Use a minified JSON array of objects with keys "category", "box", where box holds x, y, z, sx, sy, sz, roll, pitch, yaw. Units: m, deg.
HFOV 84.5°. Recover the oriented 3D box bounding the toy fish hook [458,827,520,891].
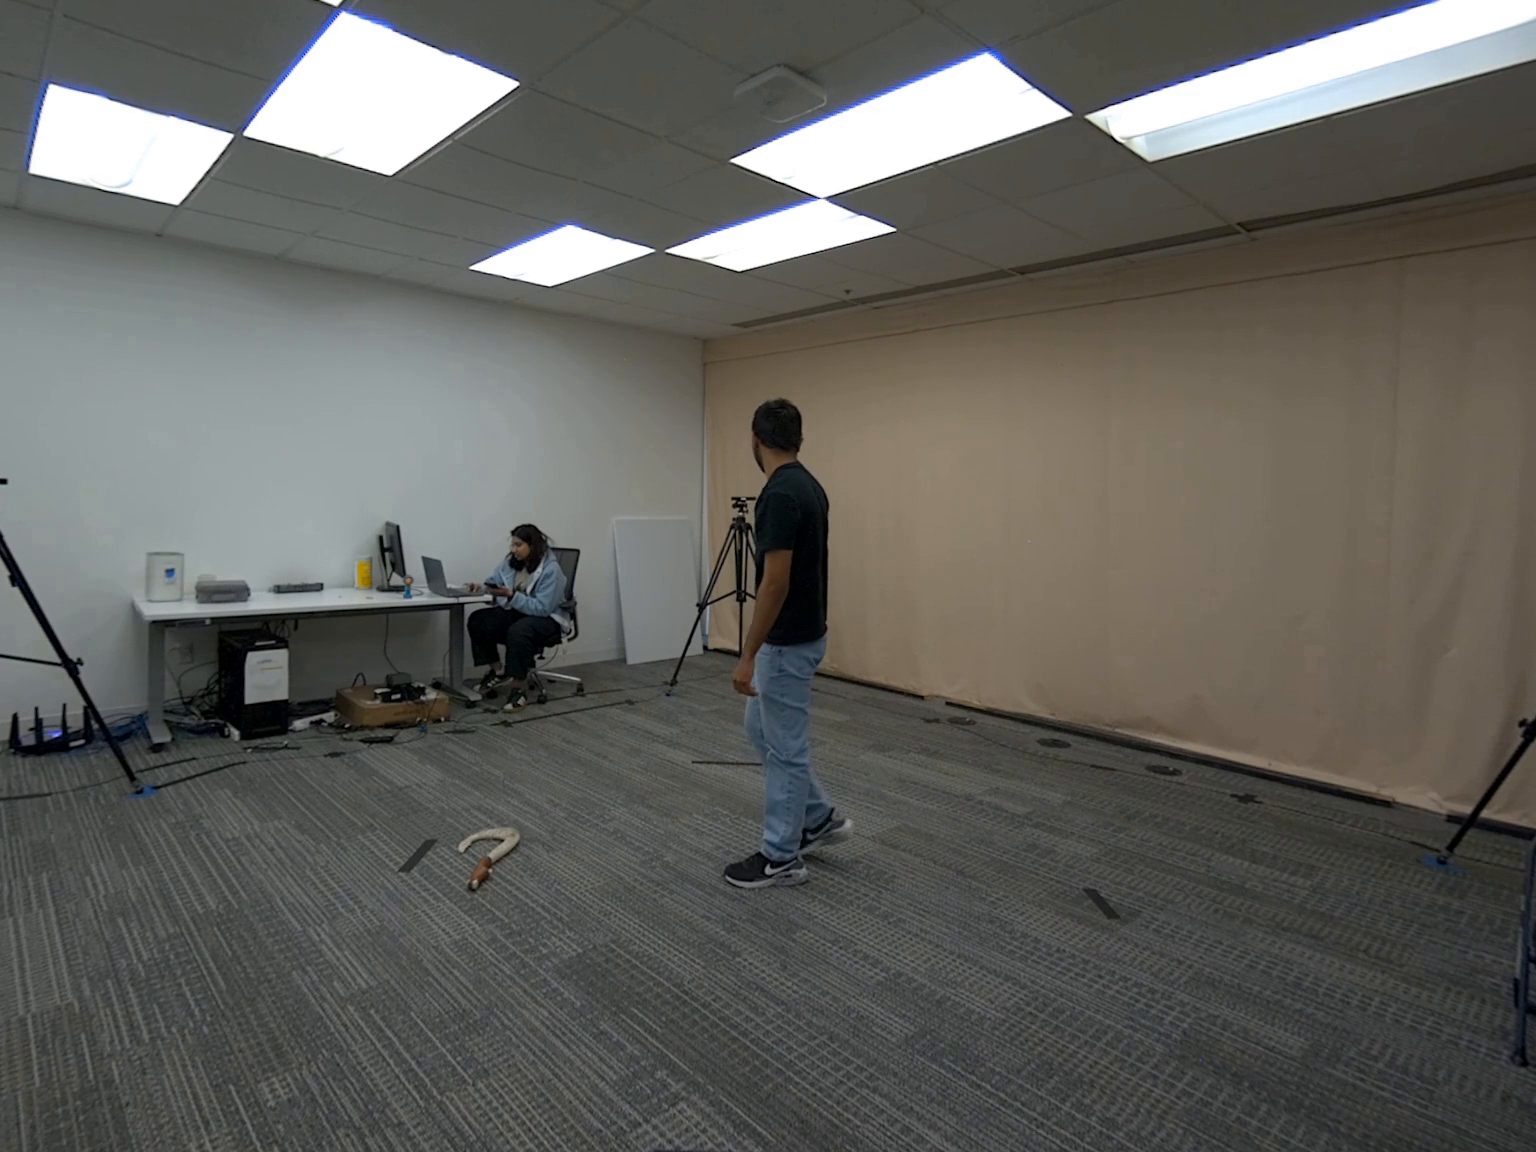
[{"category":"toy fish hook","box":[-1.101,1.064,3.173,0.224,0.048,0.508,-5,5,-1]}]
